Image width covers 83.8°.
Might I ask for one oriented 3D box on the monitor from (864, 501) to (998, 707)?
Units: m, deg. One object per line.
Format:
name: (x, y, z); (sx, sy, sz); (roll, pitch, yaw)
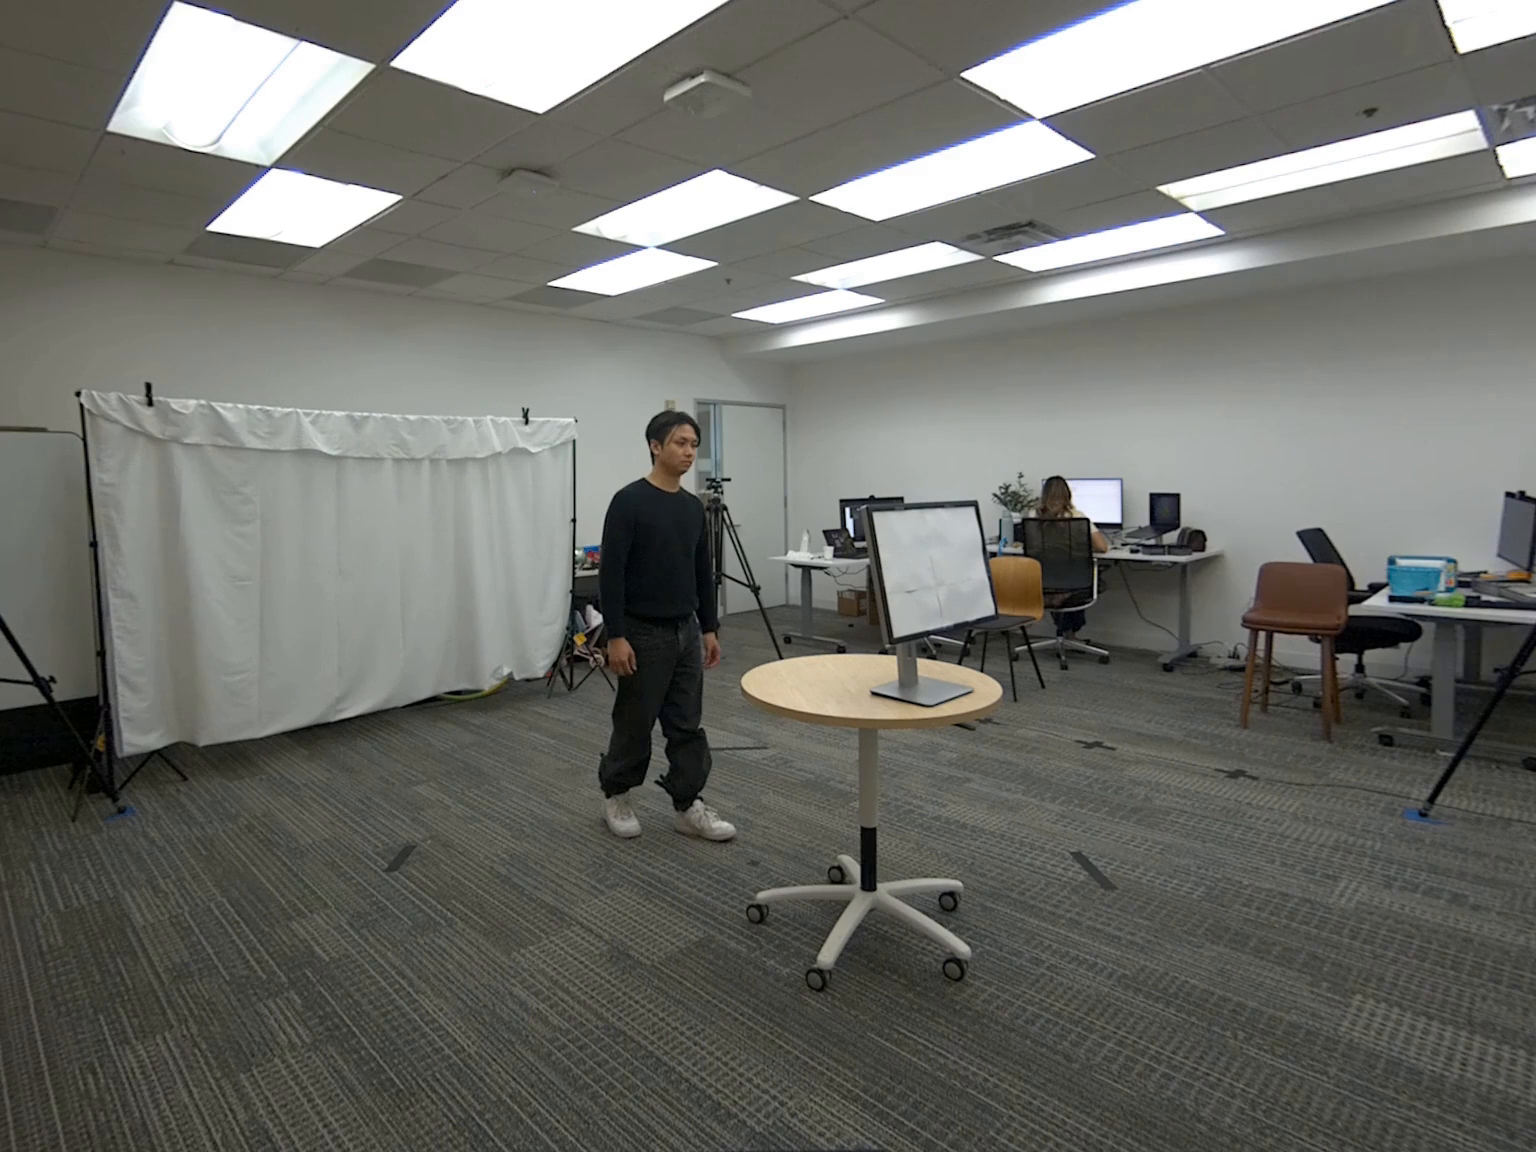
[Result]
monitor: (0.448, 0.071, 2.412); (0.193, 0.520, 0.525); (5, 8, 41)
